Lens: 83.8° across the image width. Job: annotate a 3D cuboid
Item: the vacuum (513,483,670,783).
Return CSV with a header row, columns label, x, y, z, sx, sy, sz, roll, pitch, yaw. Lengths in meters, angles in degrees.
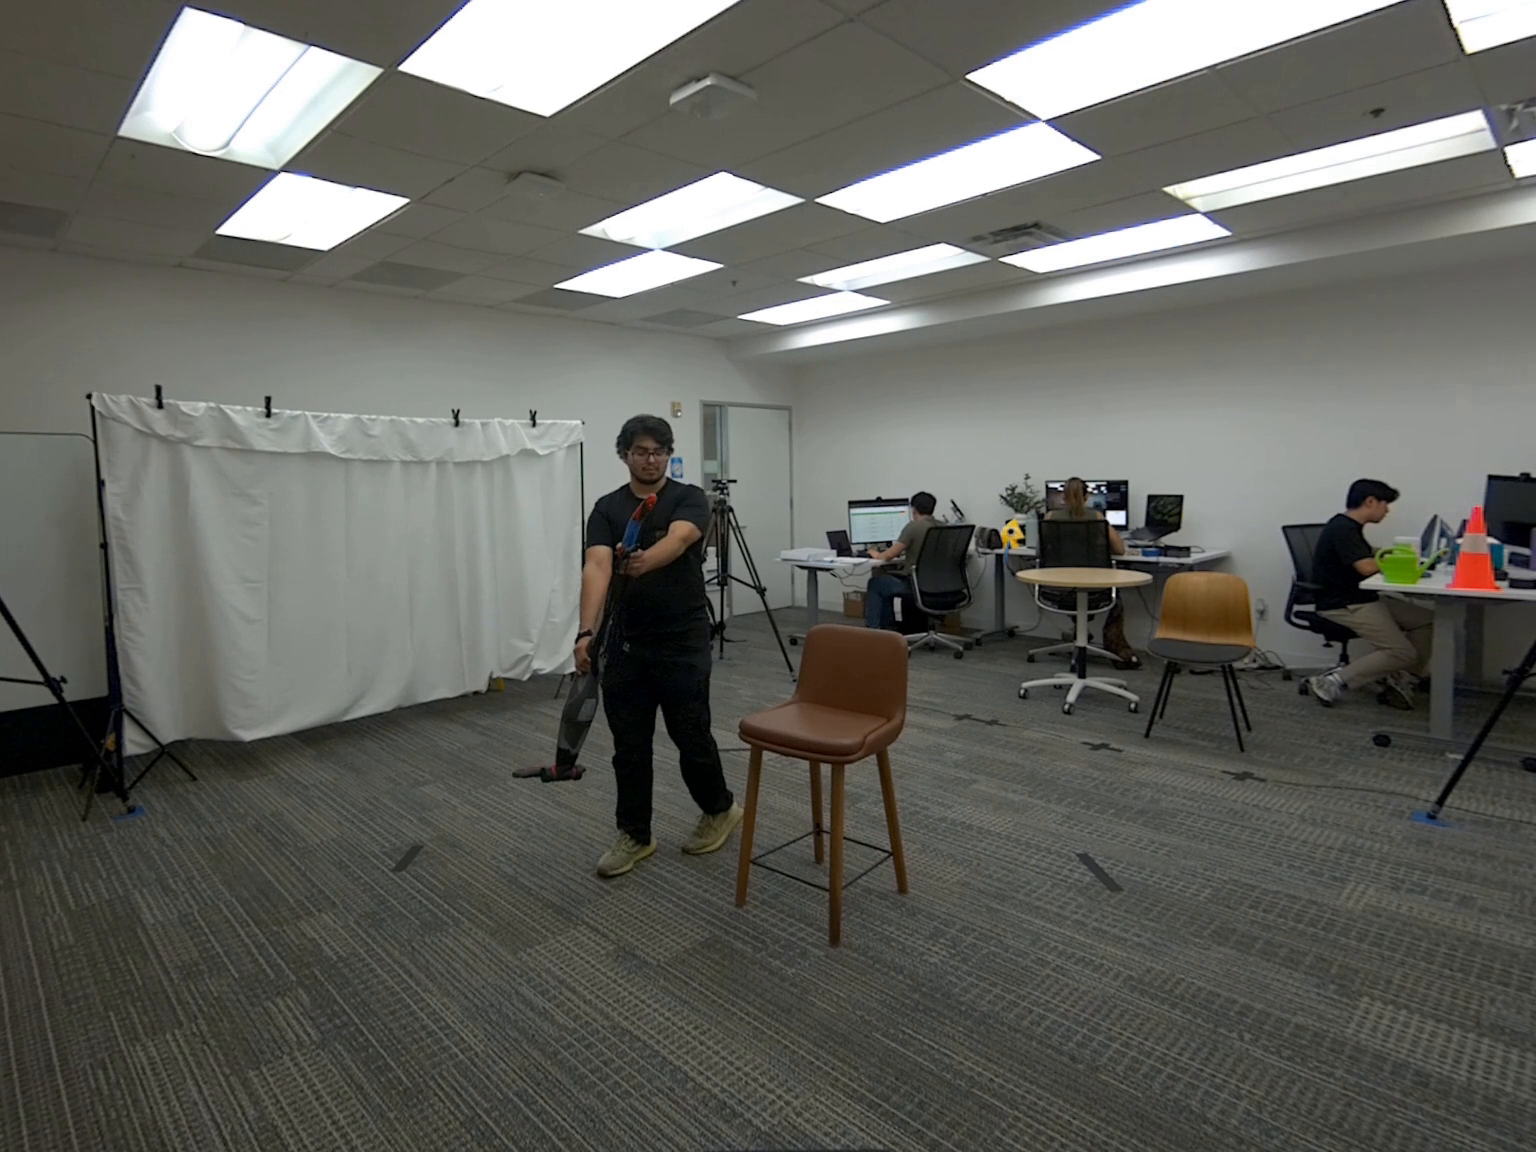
label,x,y,z,sx,sy,sz,roll,pitch,yaw
vacuum,-0.533,0.226,2.692,0.245,1.039,0.150,8,25,-34
